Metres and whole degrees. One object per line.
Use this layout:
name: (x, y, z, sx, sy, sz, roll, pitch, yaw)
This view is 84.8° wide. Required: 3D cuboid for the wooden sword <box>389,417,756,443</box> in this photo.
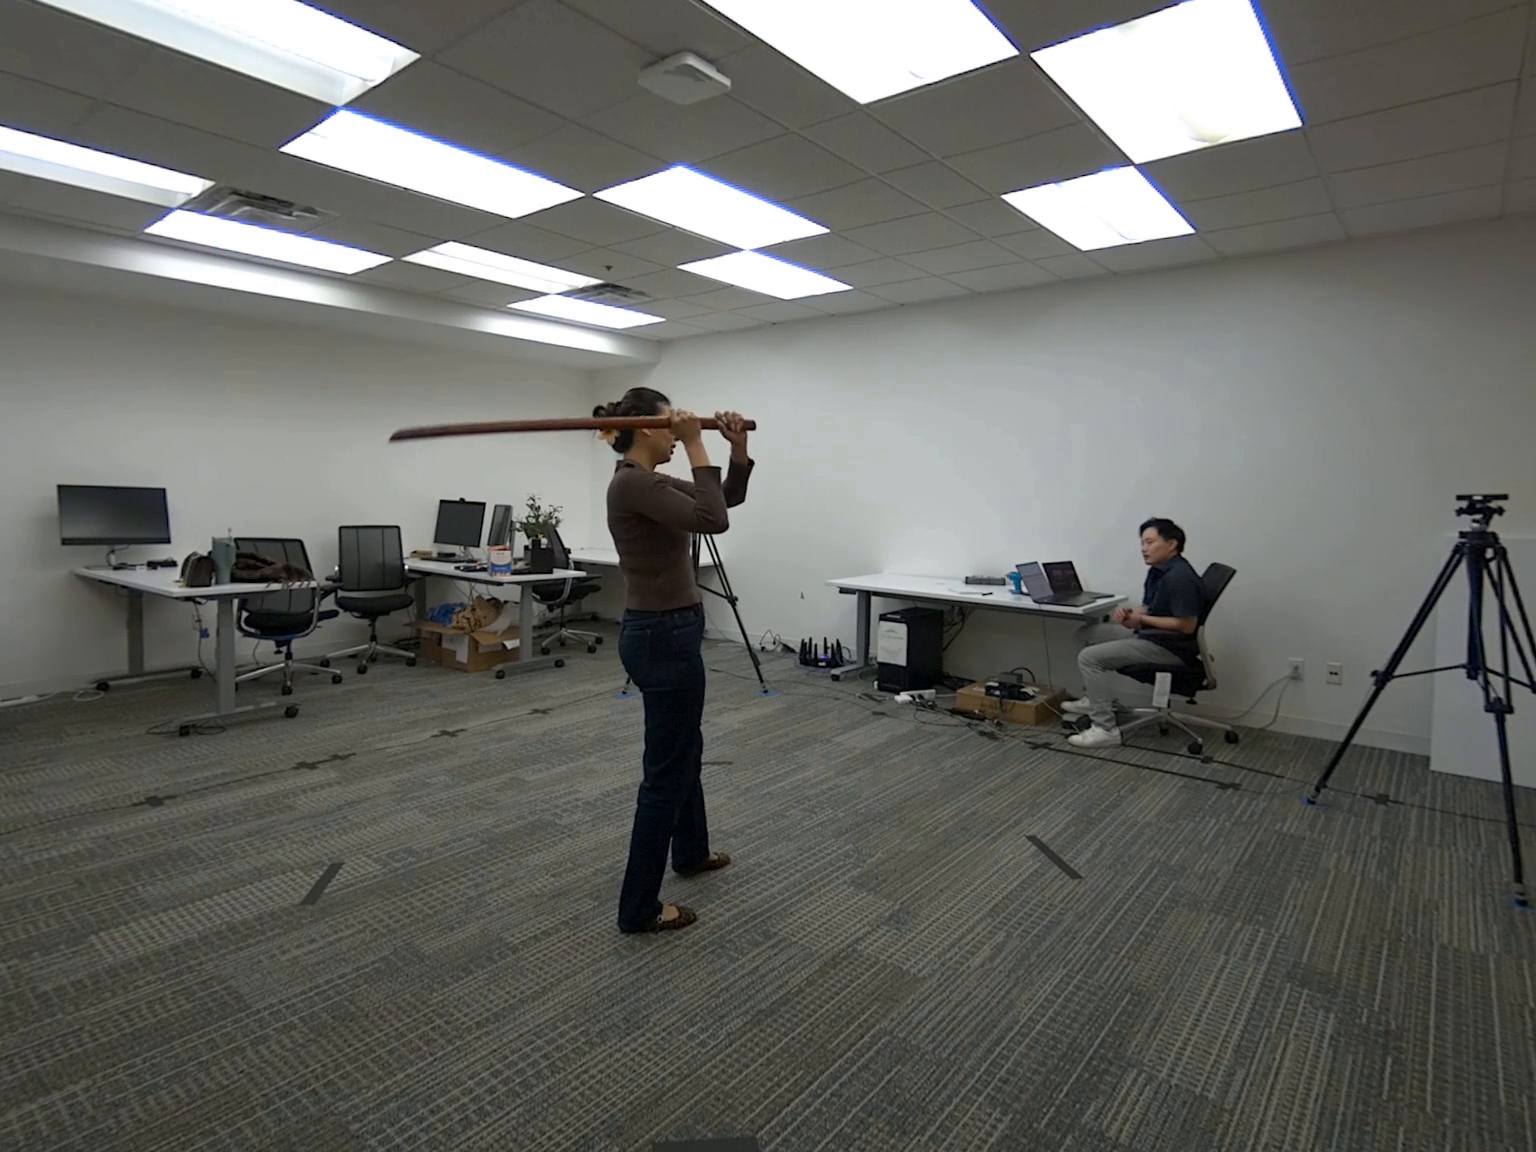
wooden sword: (-0.503, -0.418, 2.358, 1.003, 0.025, 0.051, -7, -27, -24)
